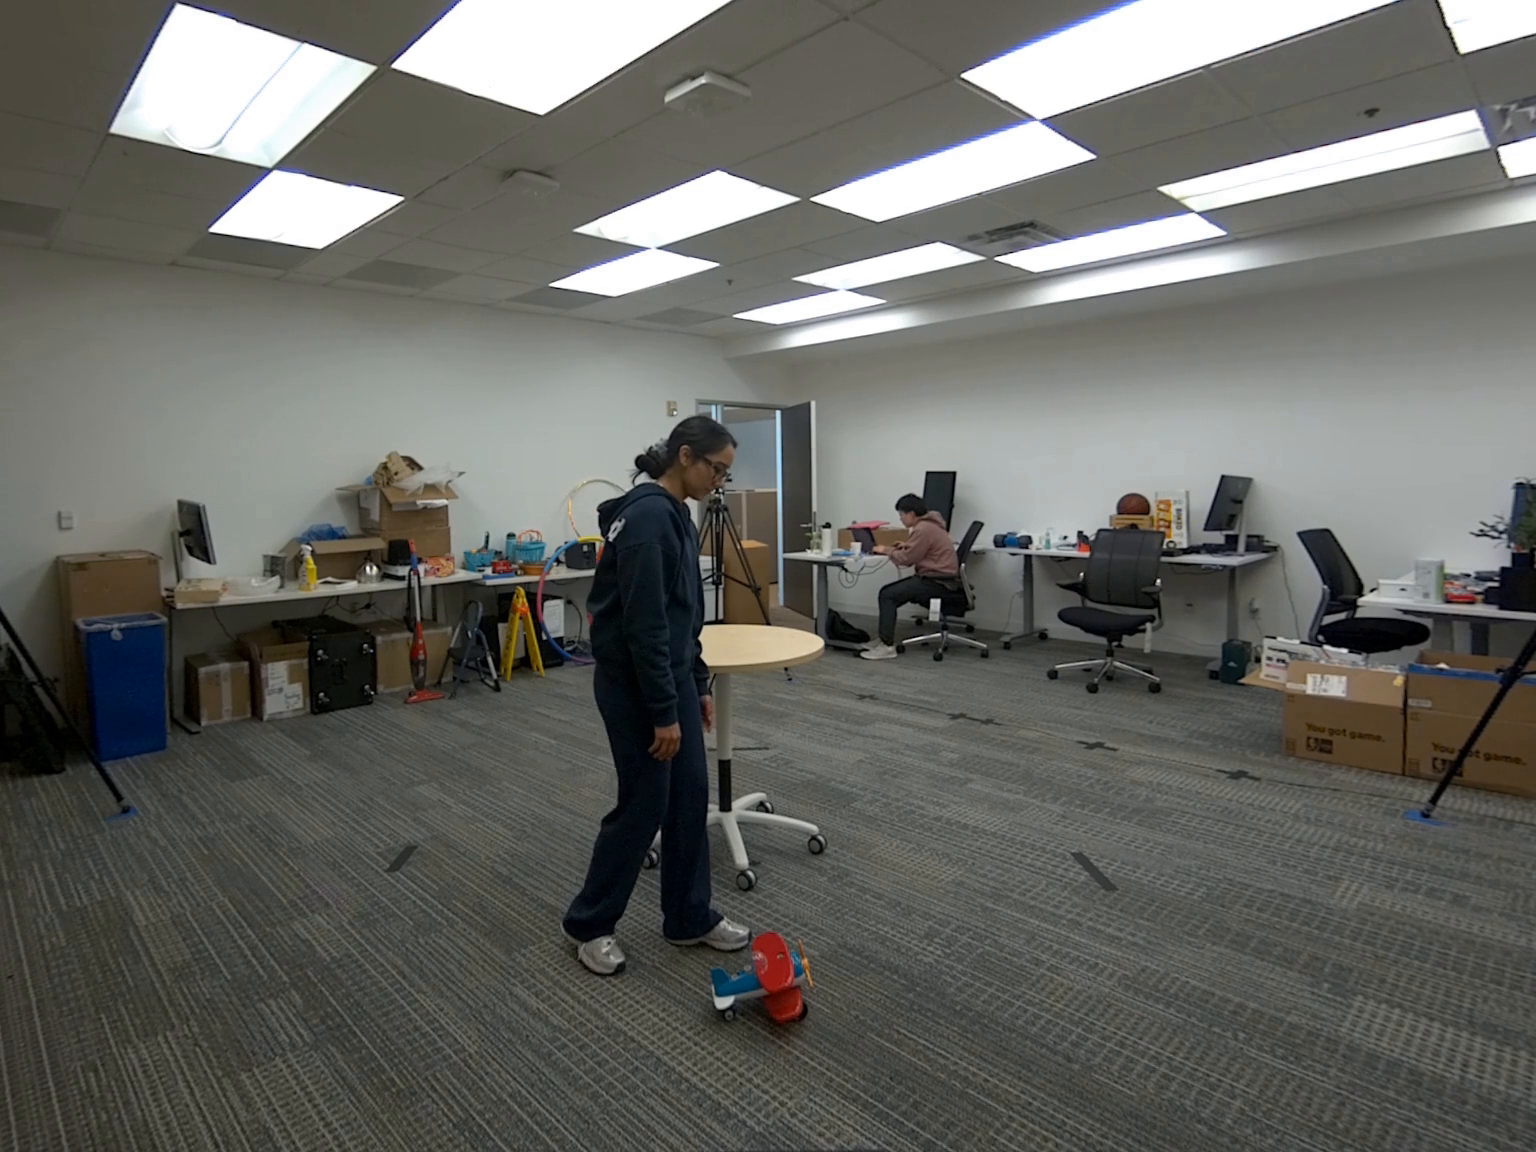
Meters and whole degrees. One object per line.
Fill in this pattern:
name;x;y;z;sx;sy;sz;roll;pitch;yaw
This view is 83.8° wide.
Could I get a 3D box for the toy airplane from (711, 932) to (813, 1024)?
toy airplane;-0.005;1.075;2.216;0.253;0.156;0.258;-6;6;-37
